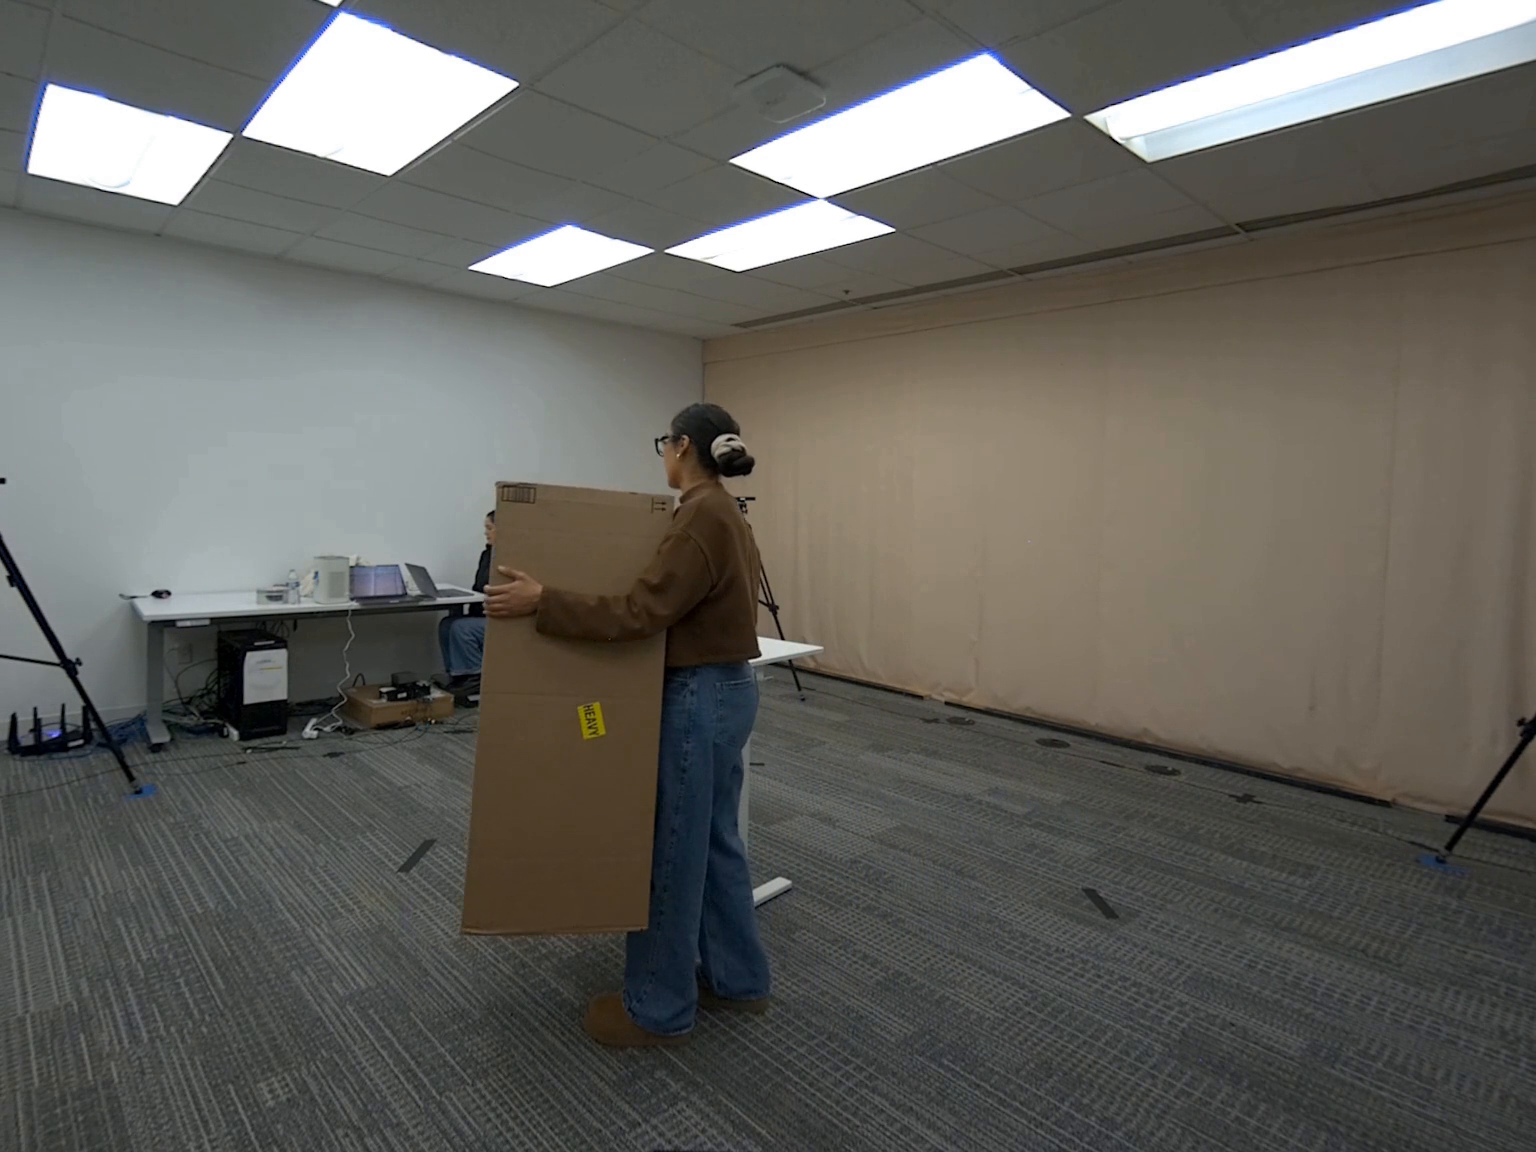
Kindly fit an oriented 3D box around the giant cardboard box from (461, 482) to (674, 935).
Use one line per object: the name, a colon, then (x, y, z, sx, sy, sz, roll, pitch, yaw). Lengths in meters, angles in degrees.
giant cardboard box: (-0.531, 0.319, 2.225, 0.420, 1.029, 0.583, 4, -5, -17)
